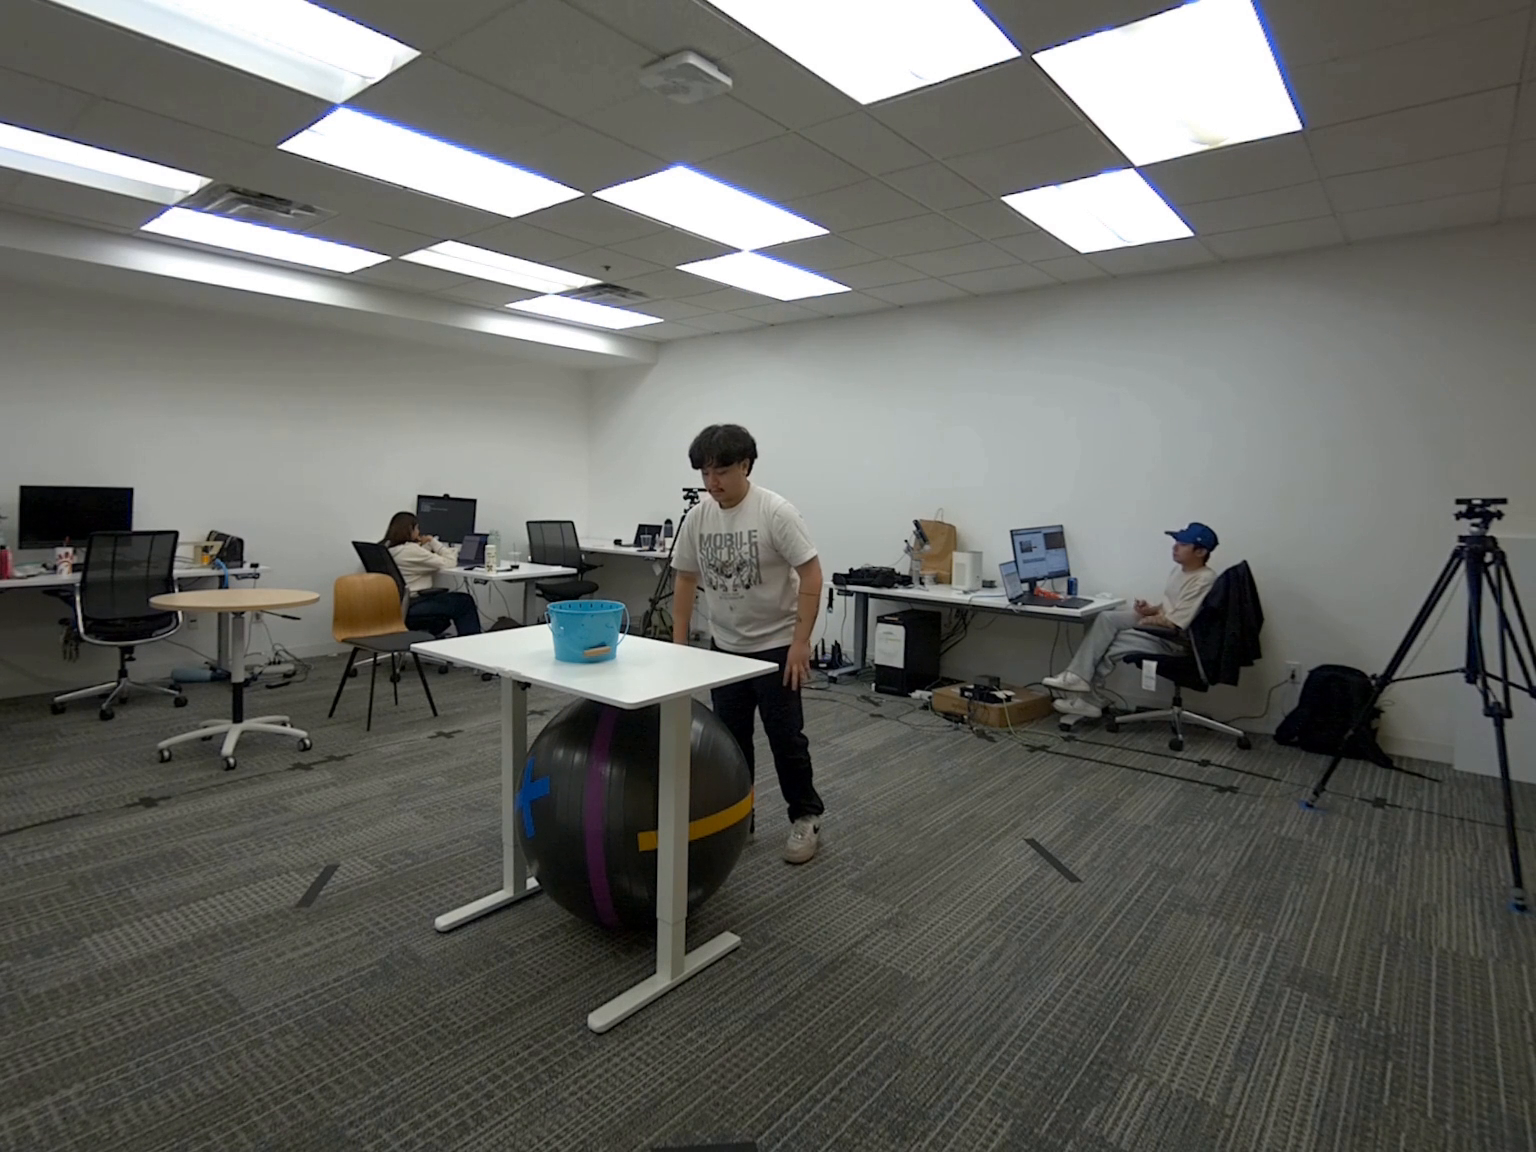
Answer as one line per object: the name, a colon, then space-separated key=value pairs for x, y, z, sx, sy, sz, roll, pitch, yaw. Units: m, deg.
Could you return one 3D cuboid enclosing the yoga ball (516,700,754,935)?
yoga ball: x=-0.435 y=0.736 z=2.743 sx=0.757 sy=0.755 sz=0.762 roll=1 pitch=4 yaw=-2
